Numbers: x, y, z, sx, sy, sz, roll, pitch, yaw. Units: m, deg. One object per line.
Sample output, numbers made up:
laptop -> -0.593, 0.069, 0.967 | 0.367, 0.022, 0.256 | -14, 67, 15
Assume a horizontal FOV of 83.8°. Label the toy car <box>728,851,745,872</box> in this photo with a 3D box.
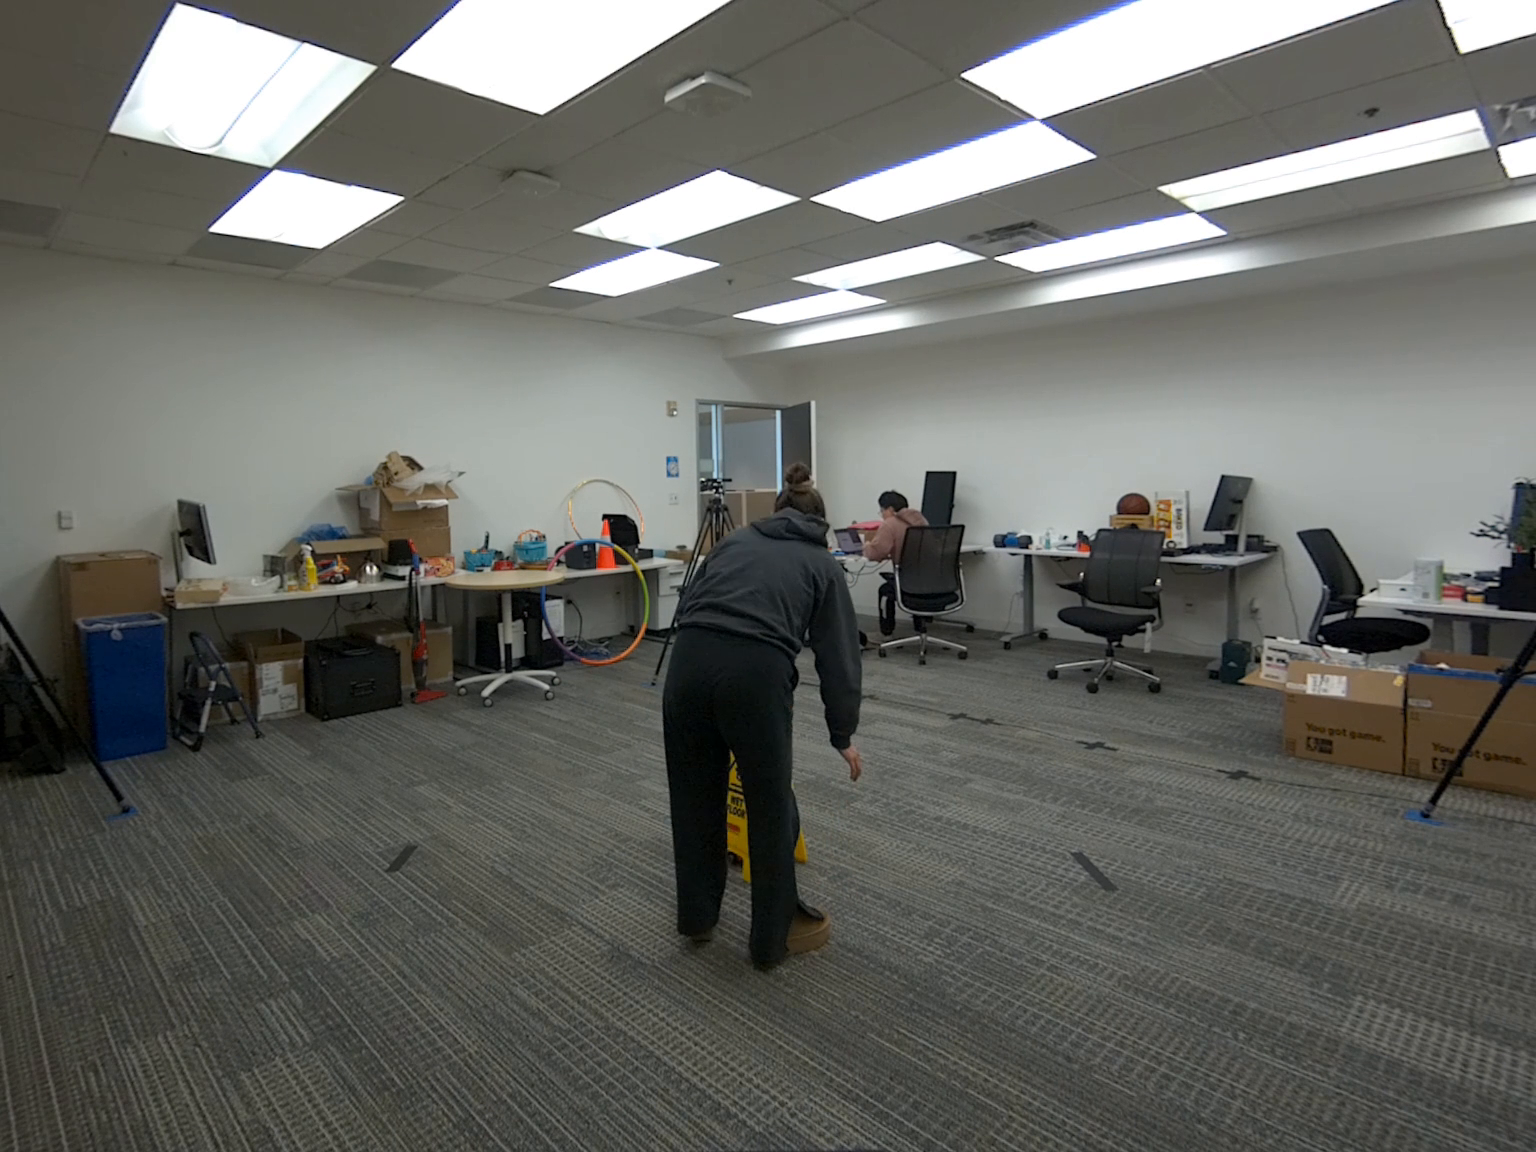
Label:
toy car -> -0.116, 1.008, 3.177 | 0.127, 0.083, 0.261 | -7, -1, -44
